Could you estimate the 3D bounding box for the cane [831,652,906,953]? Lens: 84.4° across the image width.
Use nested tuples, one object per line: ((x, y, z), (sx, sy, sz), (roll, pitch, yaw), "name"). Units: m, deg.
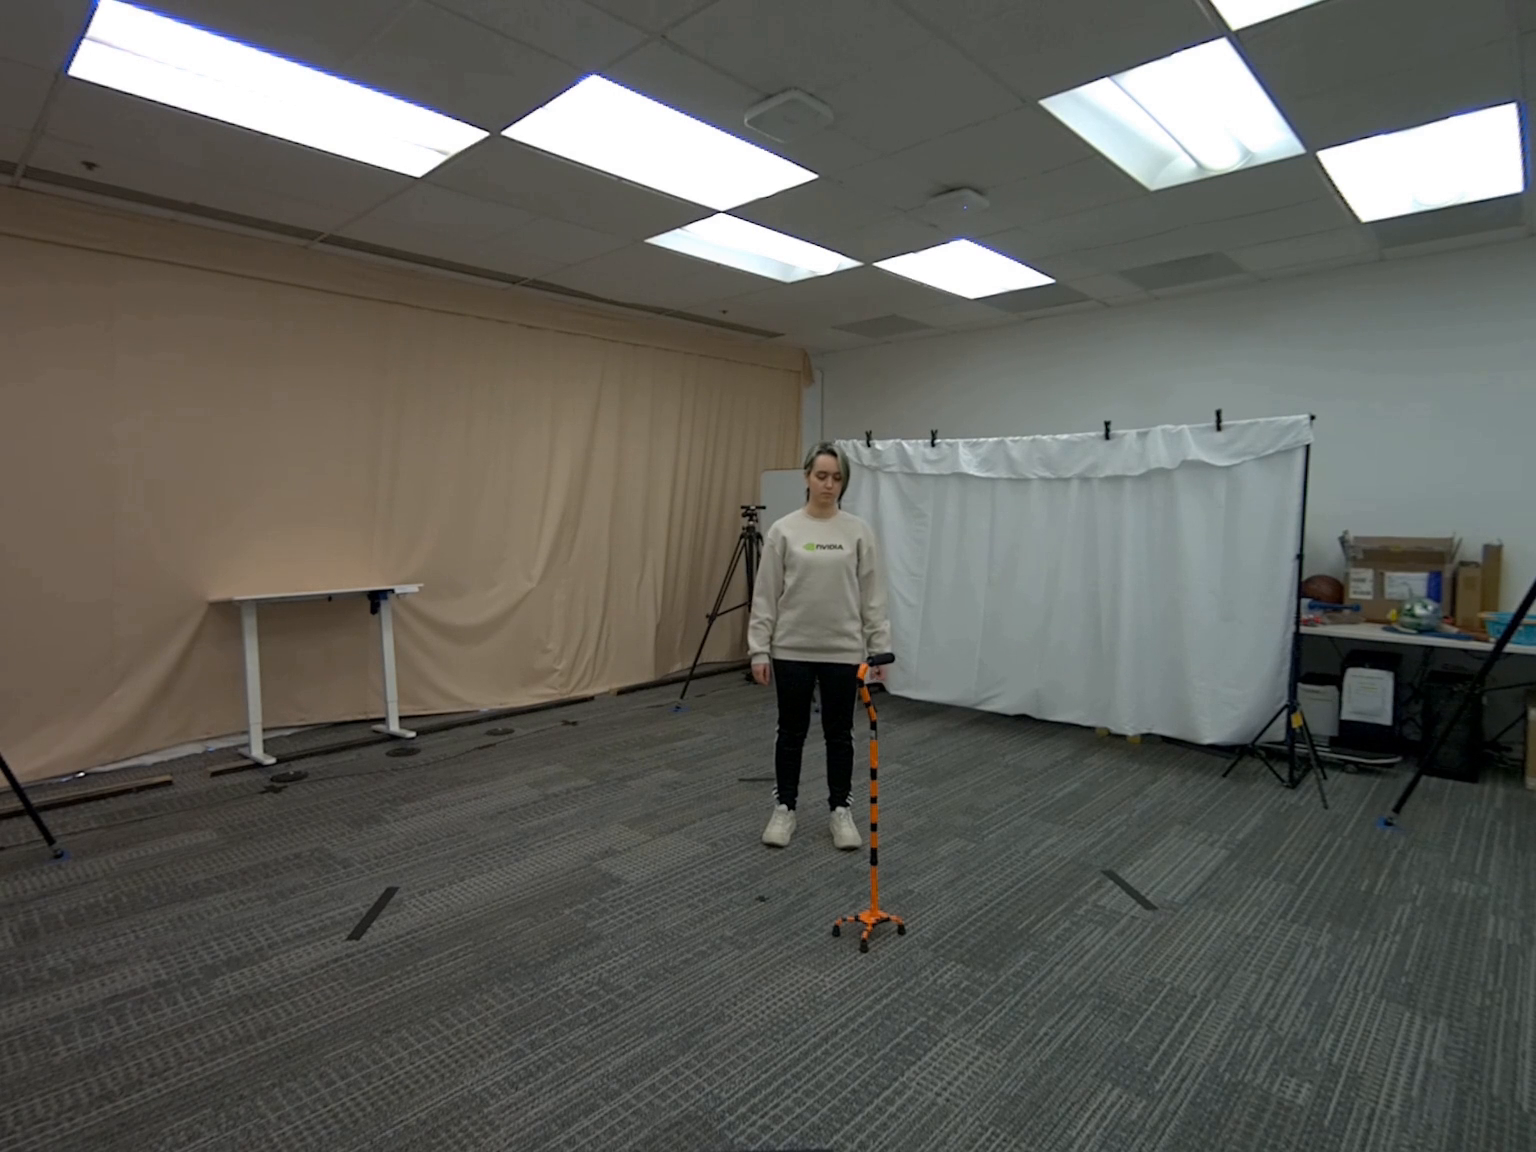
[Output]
((0.328, 0.708, 2.715), (0.200, 0.907, 0.156), (-2, 2, -40), "cane")
